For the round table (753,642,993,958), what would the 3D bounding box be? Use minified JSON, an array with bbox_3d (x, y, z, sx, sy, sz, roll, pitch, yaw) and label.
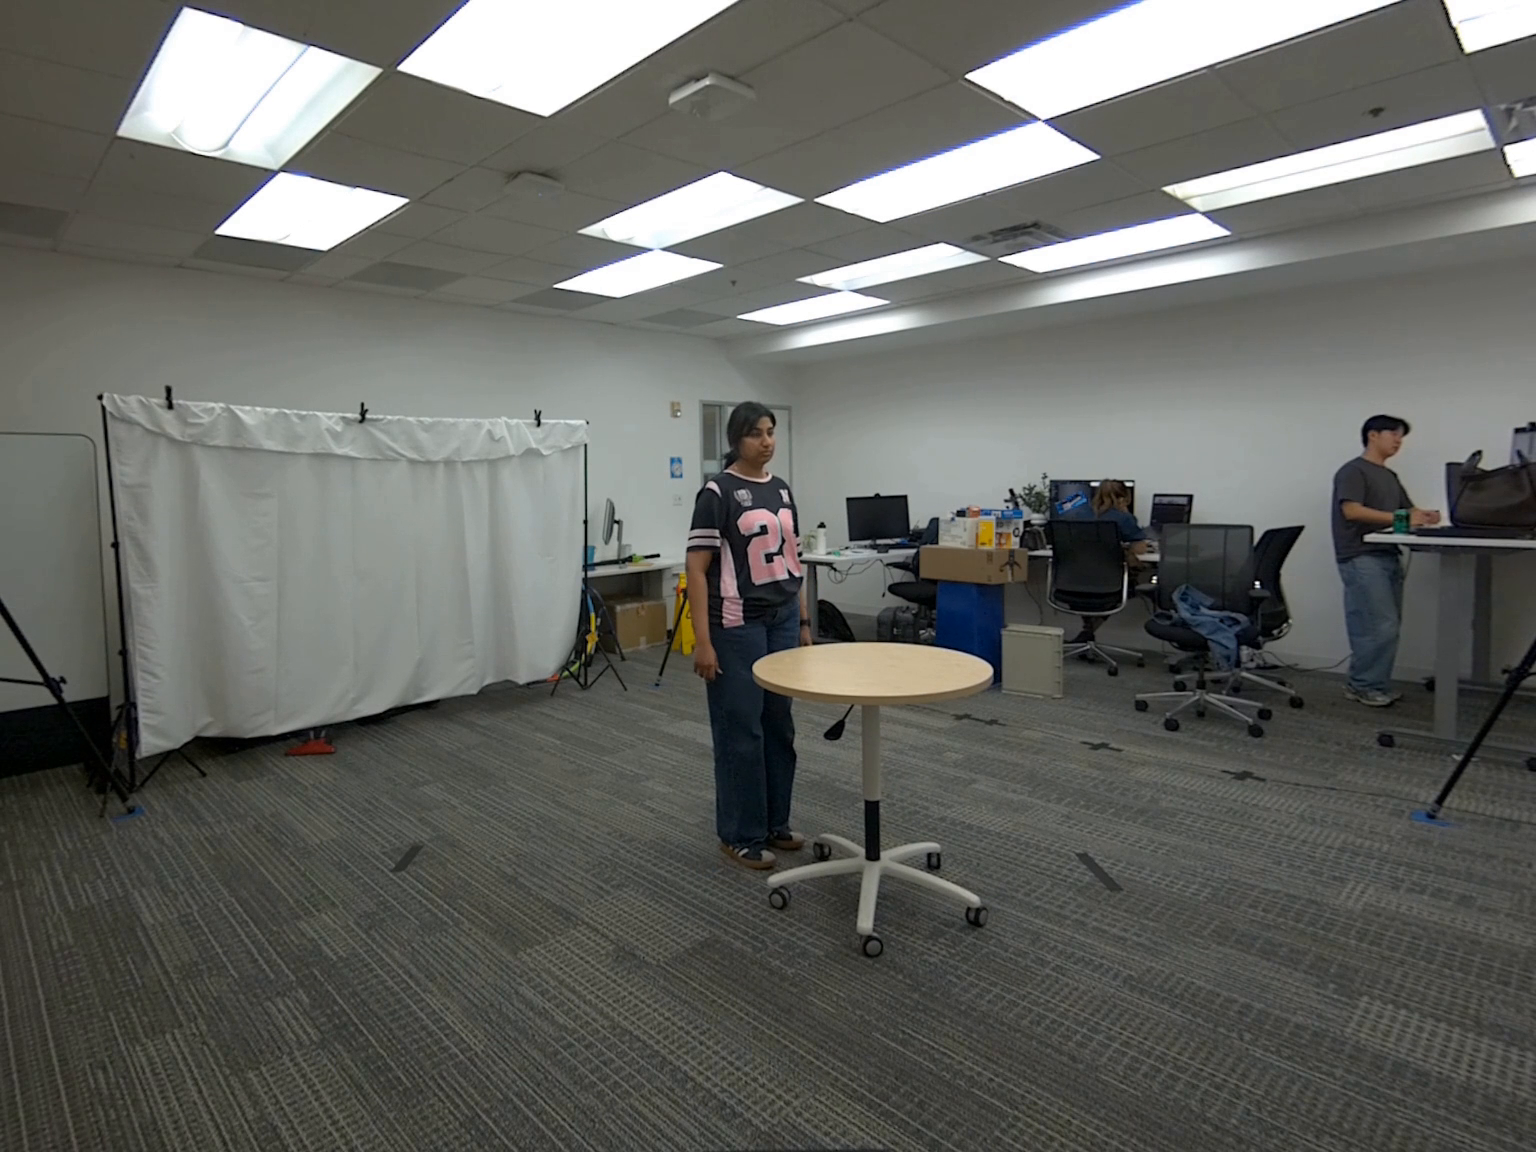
[{"bbox_3d":[0.347,0.680,2.814,0.784,0.783,0.789,-1,5,-2],"label":"round table"}]
